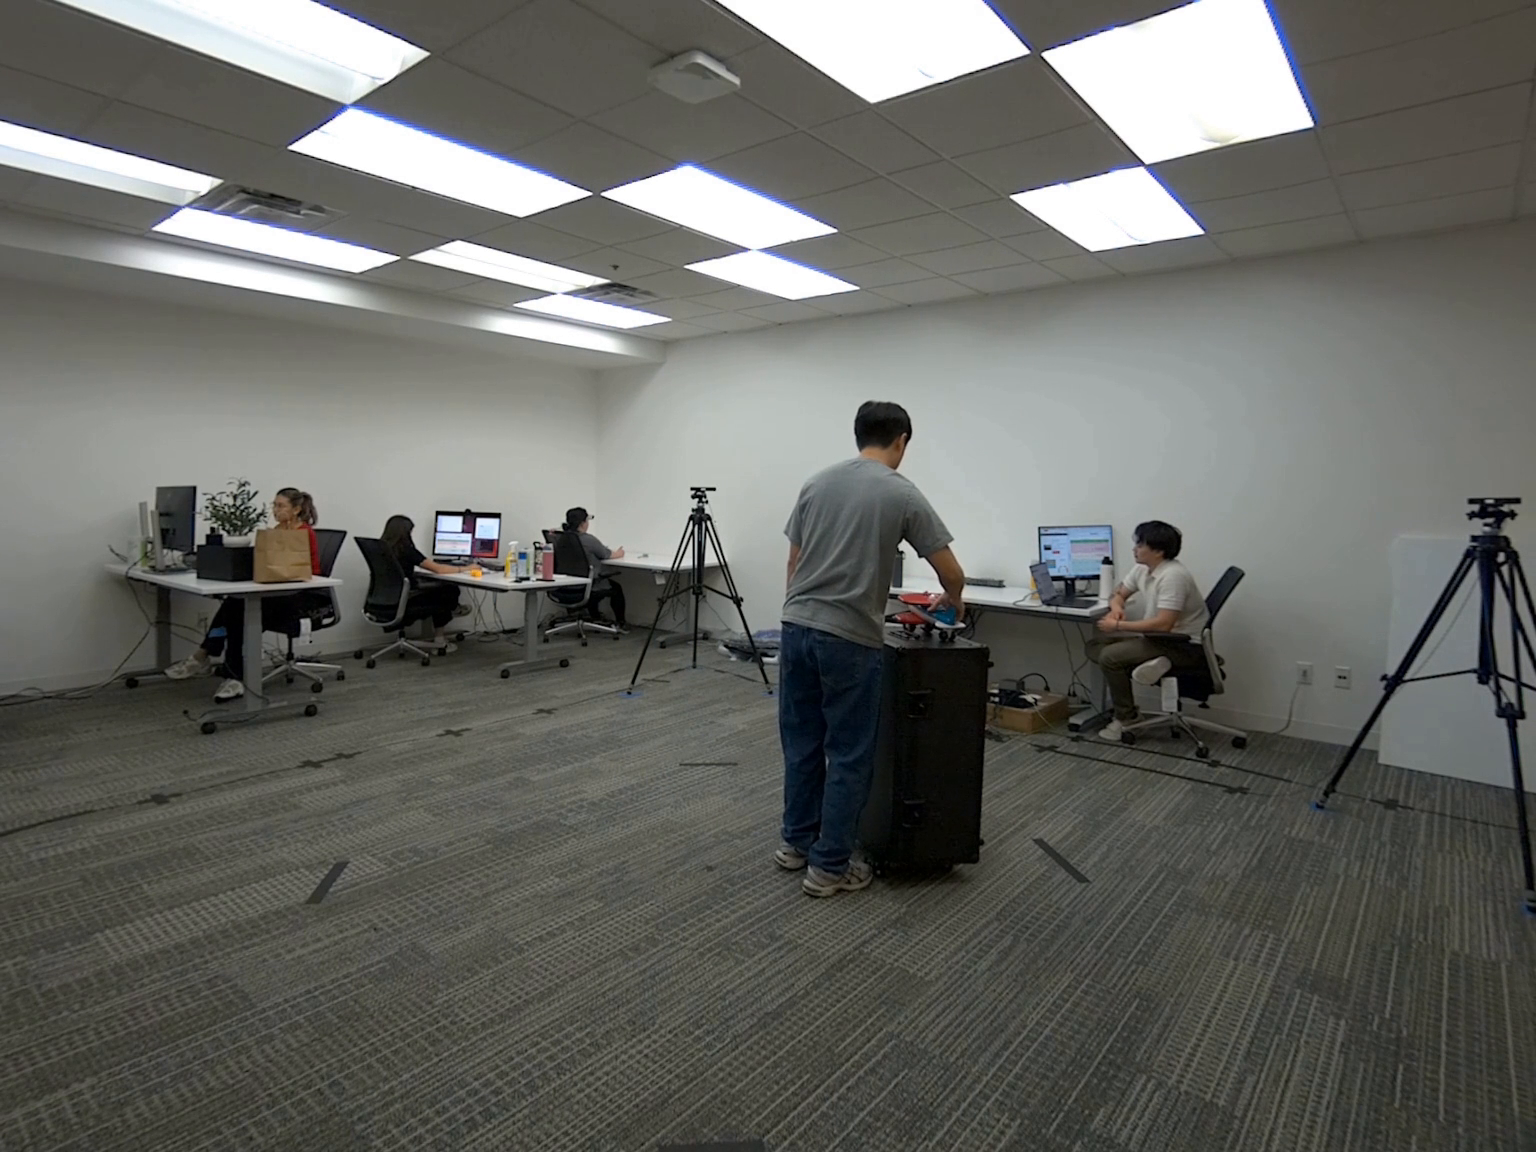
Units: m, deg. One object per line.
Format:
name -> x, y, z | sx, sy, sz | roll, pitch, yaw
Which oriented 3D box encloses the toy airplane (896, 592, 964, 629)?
toy airplane -> 0.629, 0.152, 3.236 | 0.268, 0.156, 0.244 | 5, 6, 37
